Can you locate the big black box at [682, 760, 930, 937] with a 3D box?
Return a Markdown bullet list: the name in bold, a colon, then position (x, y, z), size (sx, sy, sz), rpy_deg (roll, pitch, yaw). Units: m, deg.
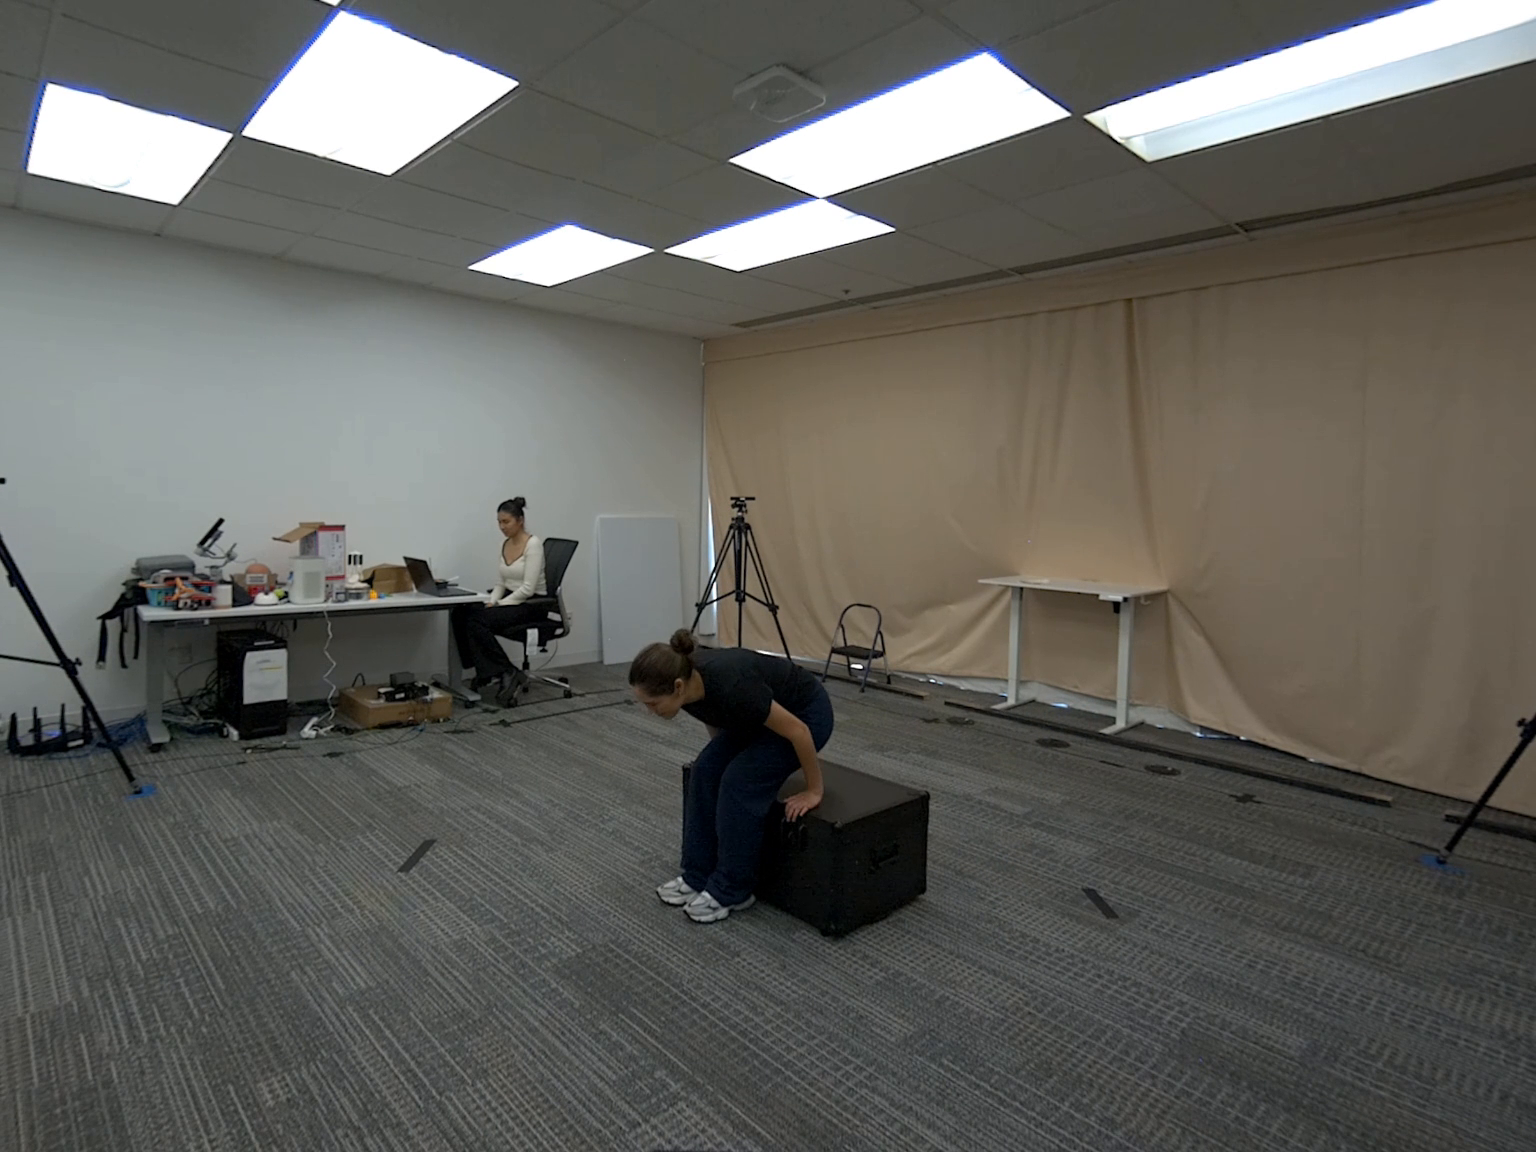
- **big black box**: position (0.096, 0.924, 3.088), size (0.509, 0.395, 0.884), rpy_deg (-2, 7, -44)
